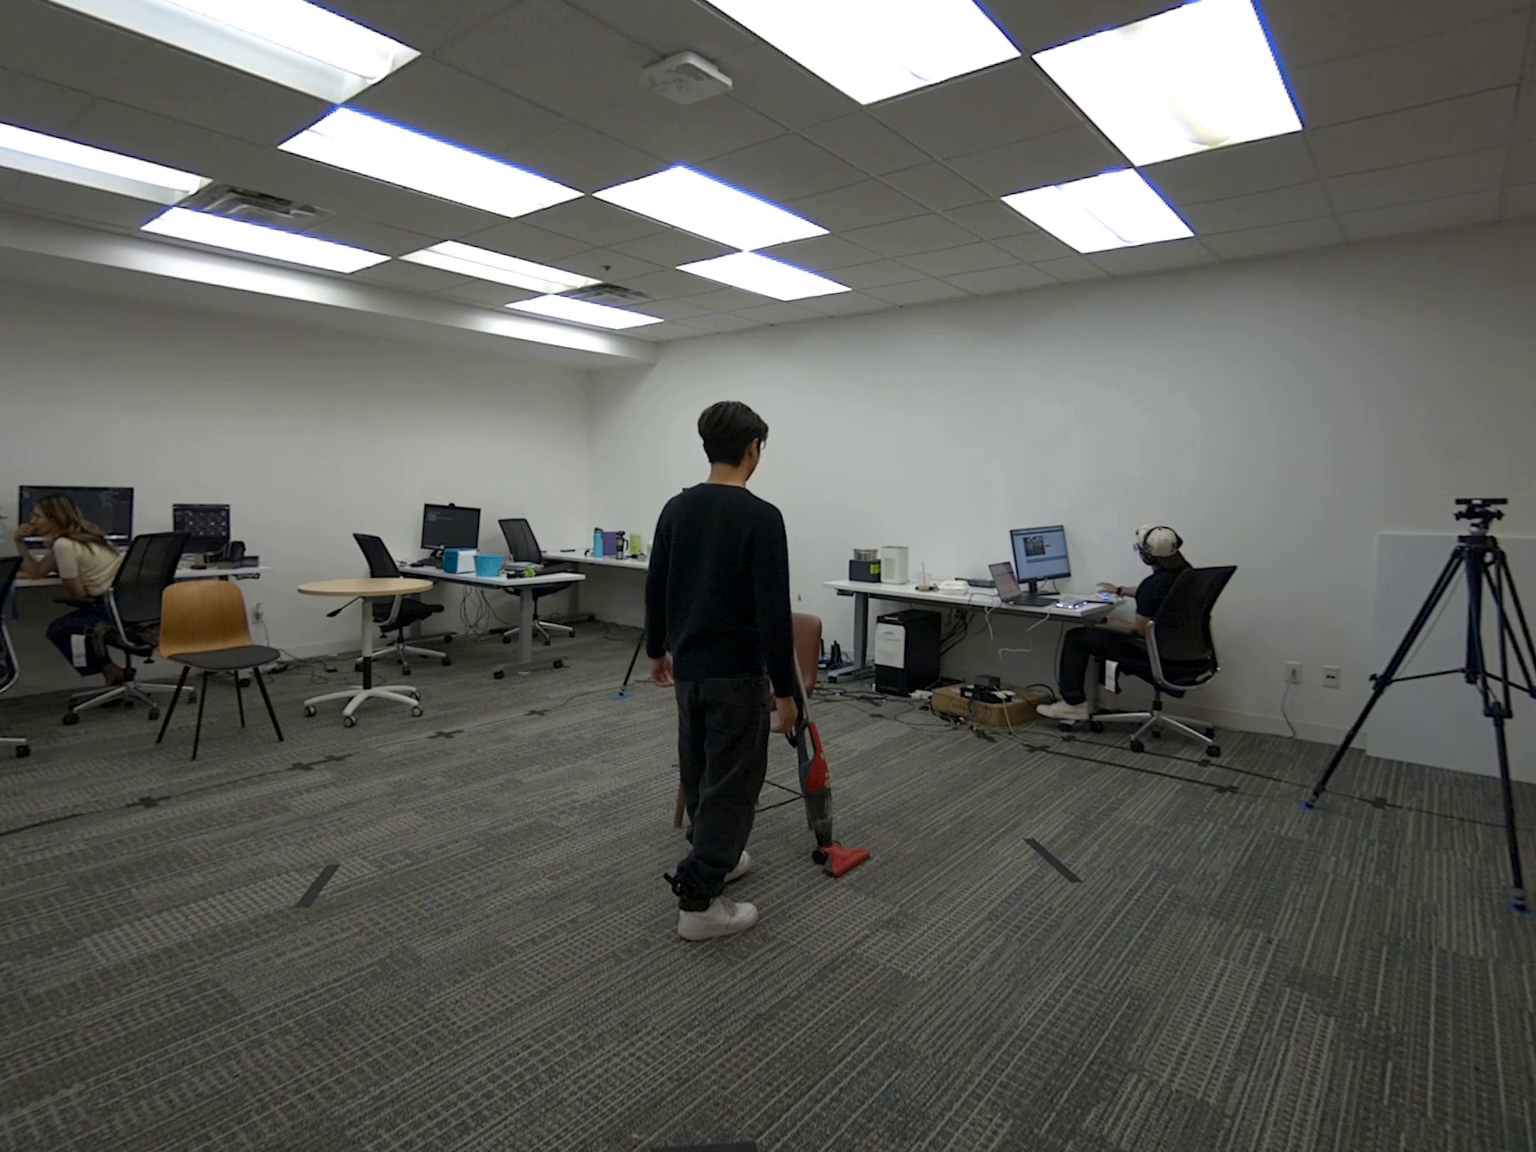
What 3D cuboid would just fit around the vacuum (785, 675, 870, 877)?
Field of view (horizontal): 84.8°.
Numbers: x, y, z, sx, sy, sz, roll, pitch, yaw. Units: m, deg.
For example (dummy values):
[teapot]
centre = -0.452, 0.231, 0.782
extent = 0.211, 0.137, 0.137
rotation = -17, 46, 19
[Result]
[vacuum]
centre = 0.145, 0.572, 3.301
extent = 0.146, 1.064, 0.244
rotation = -22, -14, 35
